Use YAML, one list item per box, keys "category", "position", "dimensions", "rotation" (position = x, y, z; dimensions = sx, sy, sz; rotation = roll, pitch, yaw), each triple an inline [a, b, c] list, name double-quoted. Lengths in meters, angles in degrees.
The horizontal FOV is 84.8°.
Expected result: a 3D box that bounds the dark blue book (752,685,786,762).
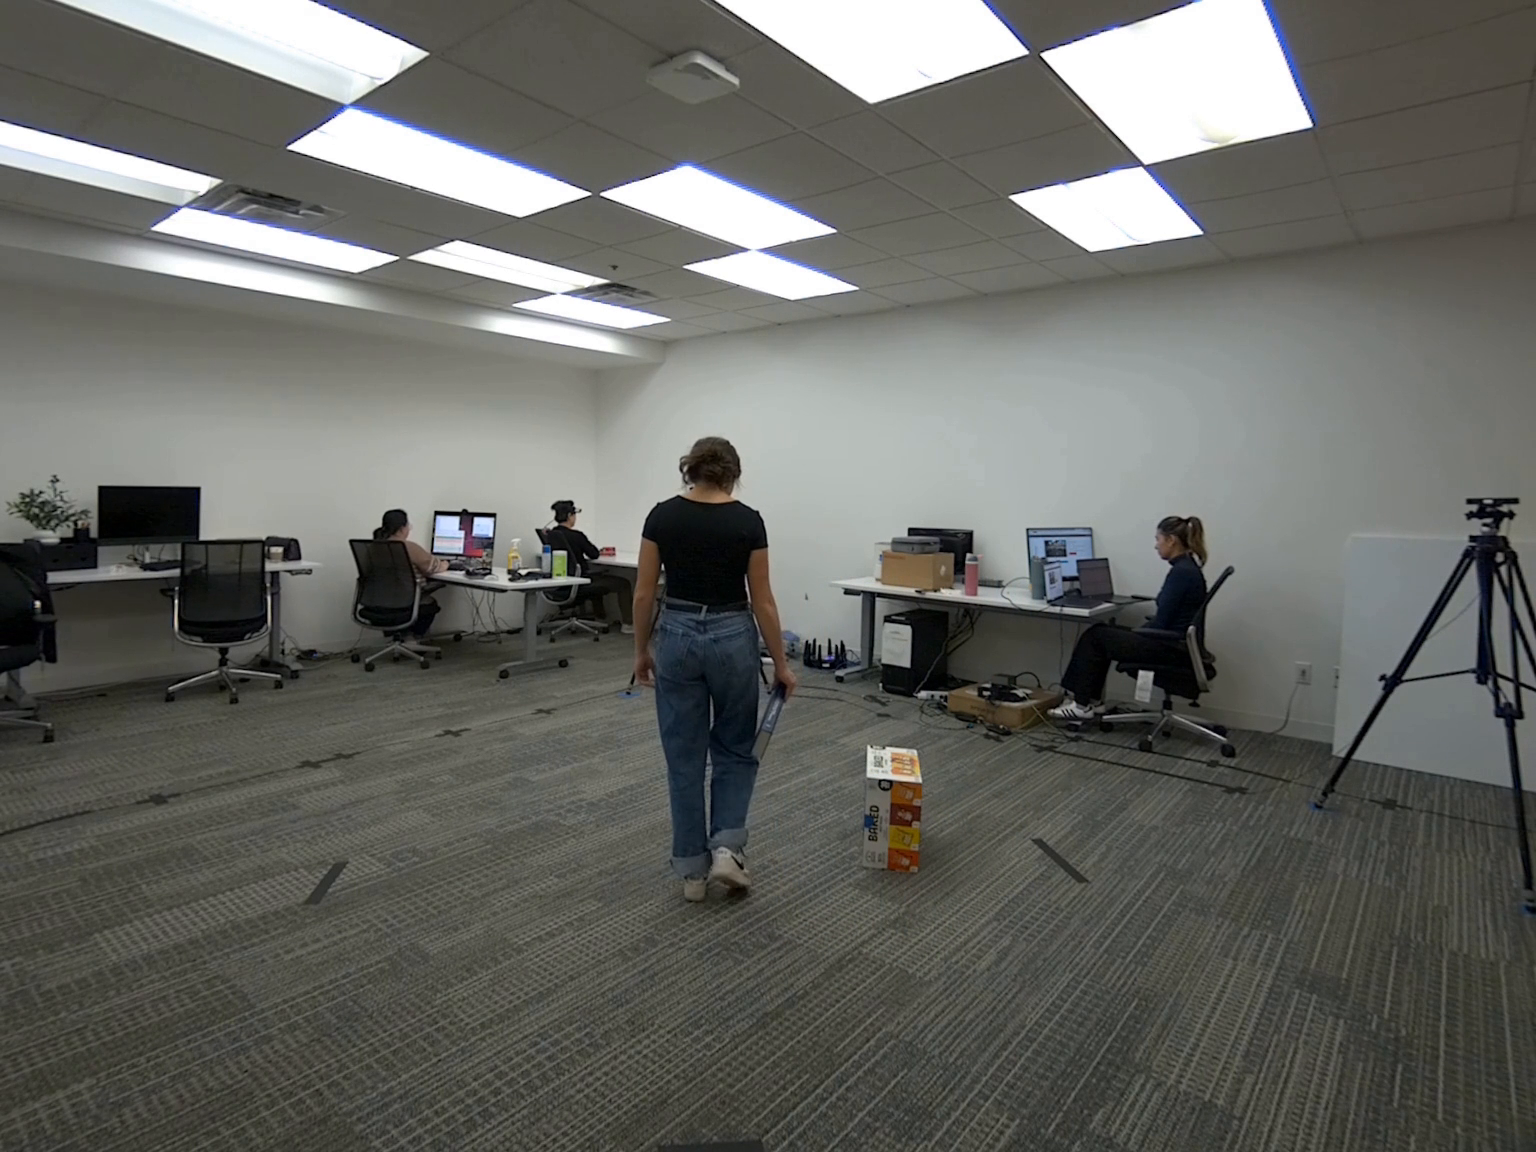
- category: "dark blue book"
  position: [0.001, 0.496, 2.944]
  dimensions: [0.045, 0.160, 0.248]
  rotation: [21, 43, 1]
